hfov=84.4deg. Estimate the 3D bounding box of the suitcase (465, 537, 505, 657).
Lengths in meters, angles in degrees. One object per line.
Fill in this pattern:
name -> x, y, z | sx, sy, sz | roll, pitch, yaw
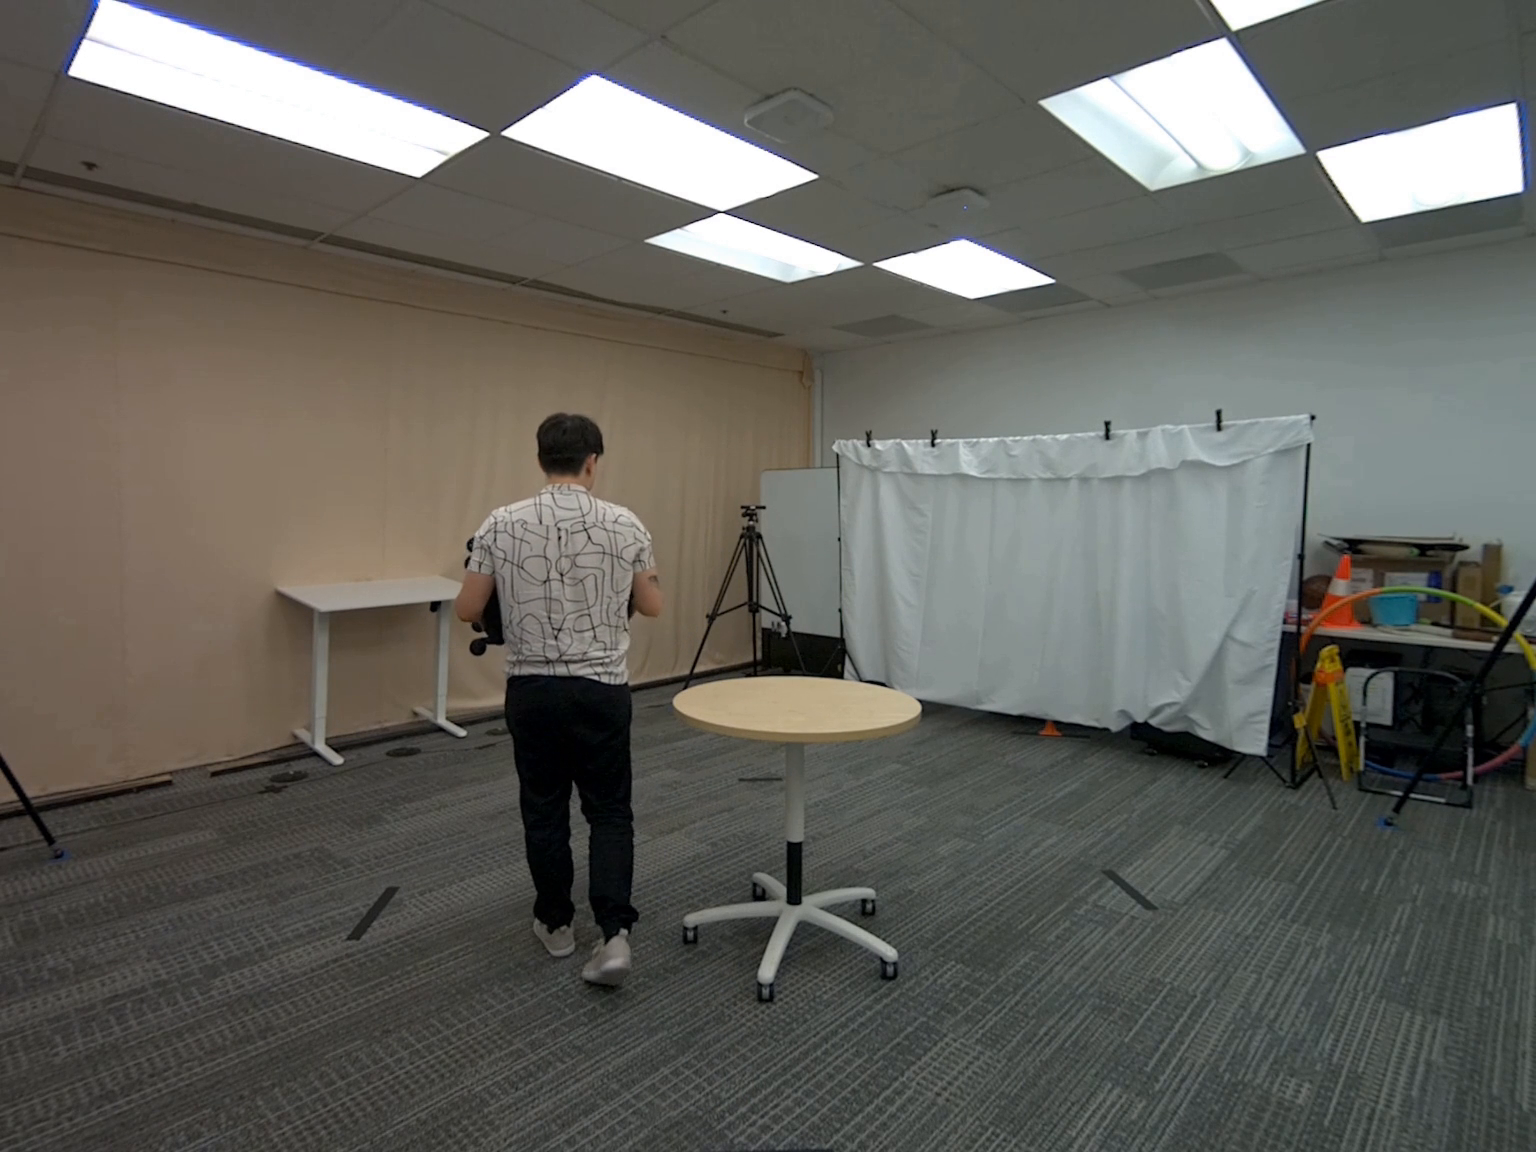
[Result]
suitcase -> -0.746, 0.025, 2.883 | 0.541, 0.372, 0.254 | -4, 17, -14
